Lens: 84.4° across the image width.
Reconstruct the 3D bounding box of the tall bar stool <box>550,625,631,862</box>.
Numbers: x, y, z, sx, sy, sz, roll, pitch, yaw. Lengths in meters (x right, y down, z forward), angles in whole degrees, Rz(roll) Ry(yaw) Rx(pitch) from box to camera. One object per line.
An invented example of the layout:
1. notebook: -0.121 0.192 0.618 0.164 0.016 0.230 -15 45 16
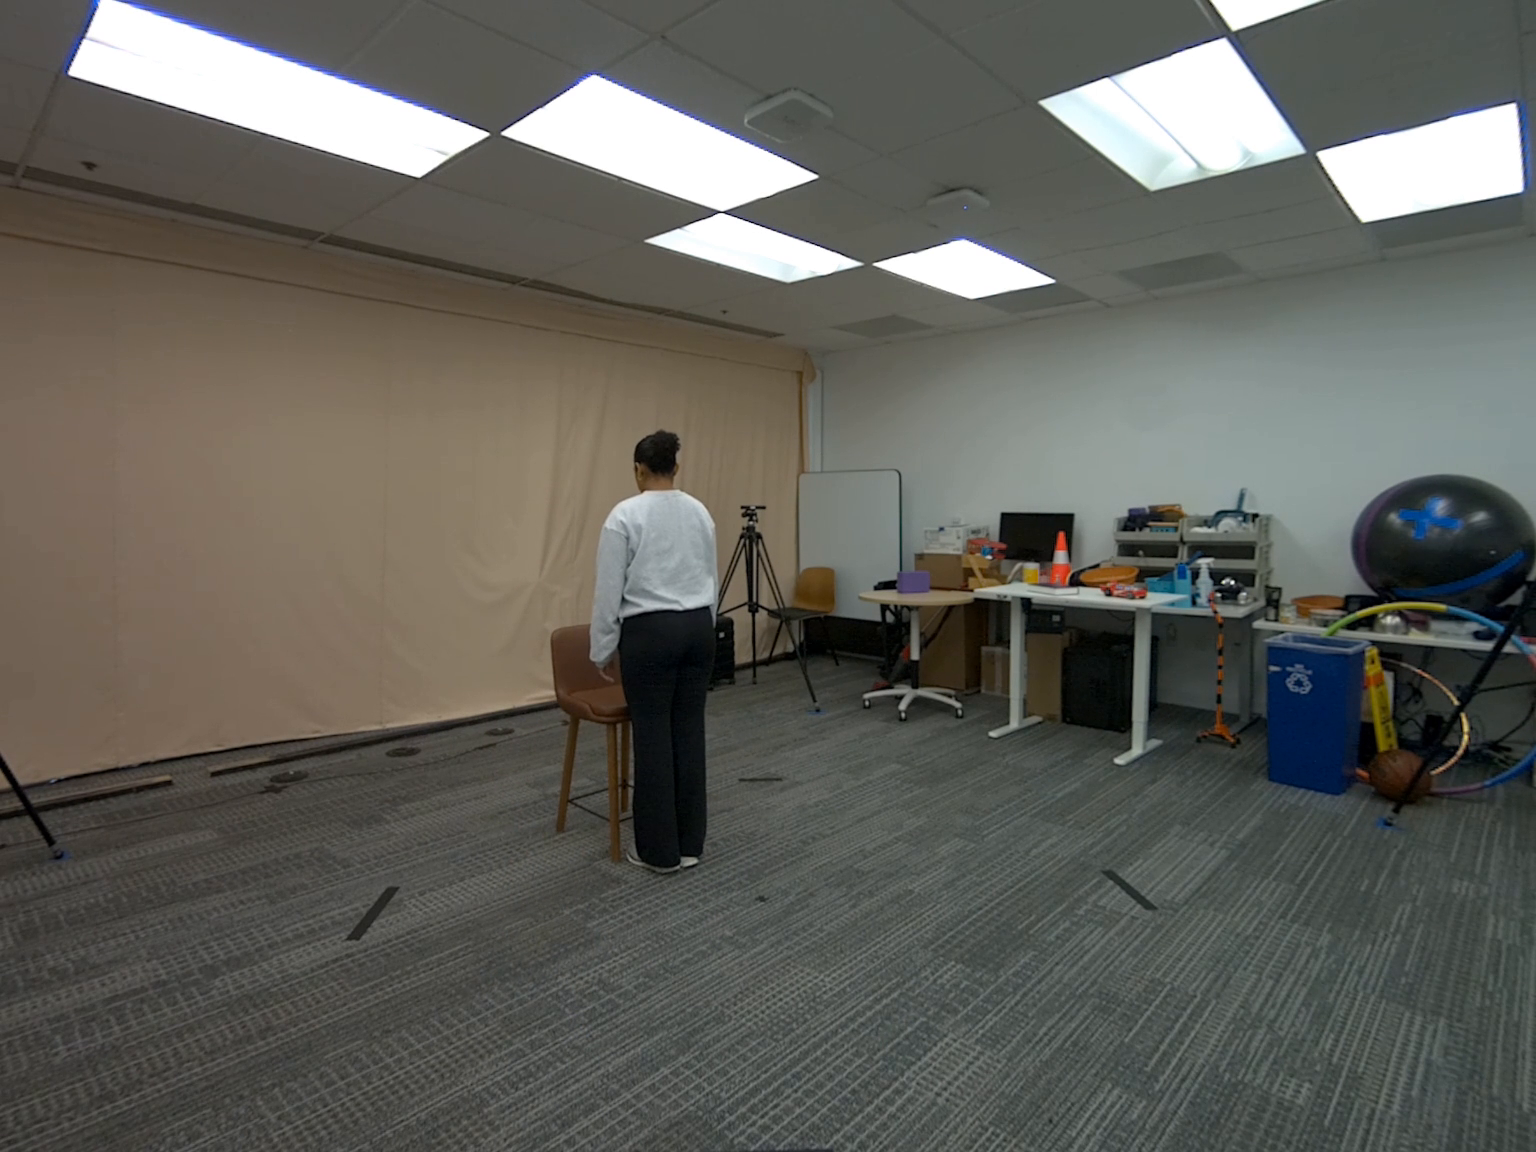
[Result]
1. tall bar stool: -0.630 0.659 3.571 0.483 0.888 0.442 0 3 45
